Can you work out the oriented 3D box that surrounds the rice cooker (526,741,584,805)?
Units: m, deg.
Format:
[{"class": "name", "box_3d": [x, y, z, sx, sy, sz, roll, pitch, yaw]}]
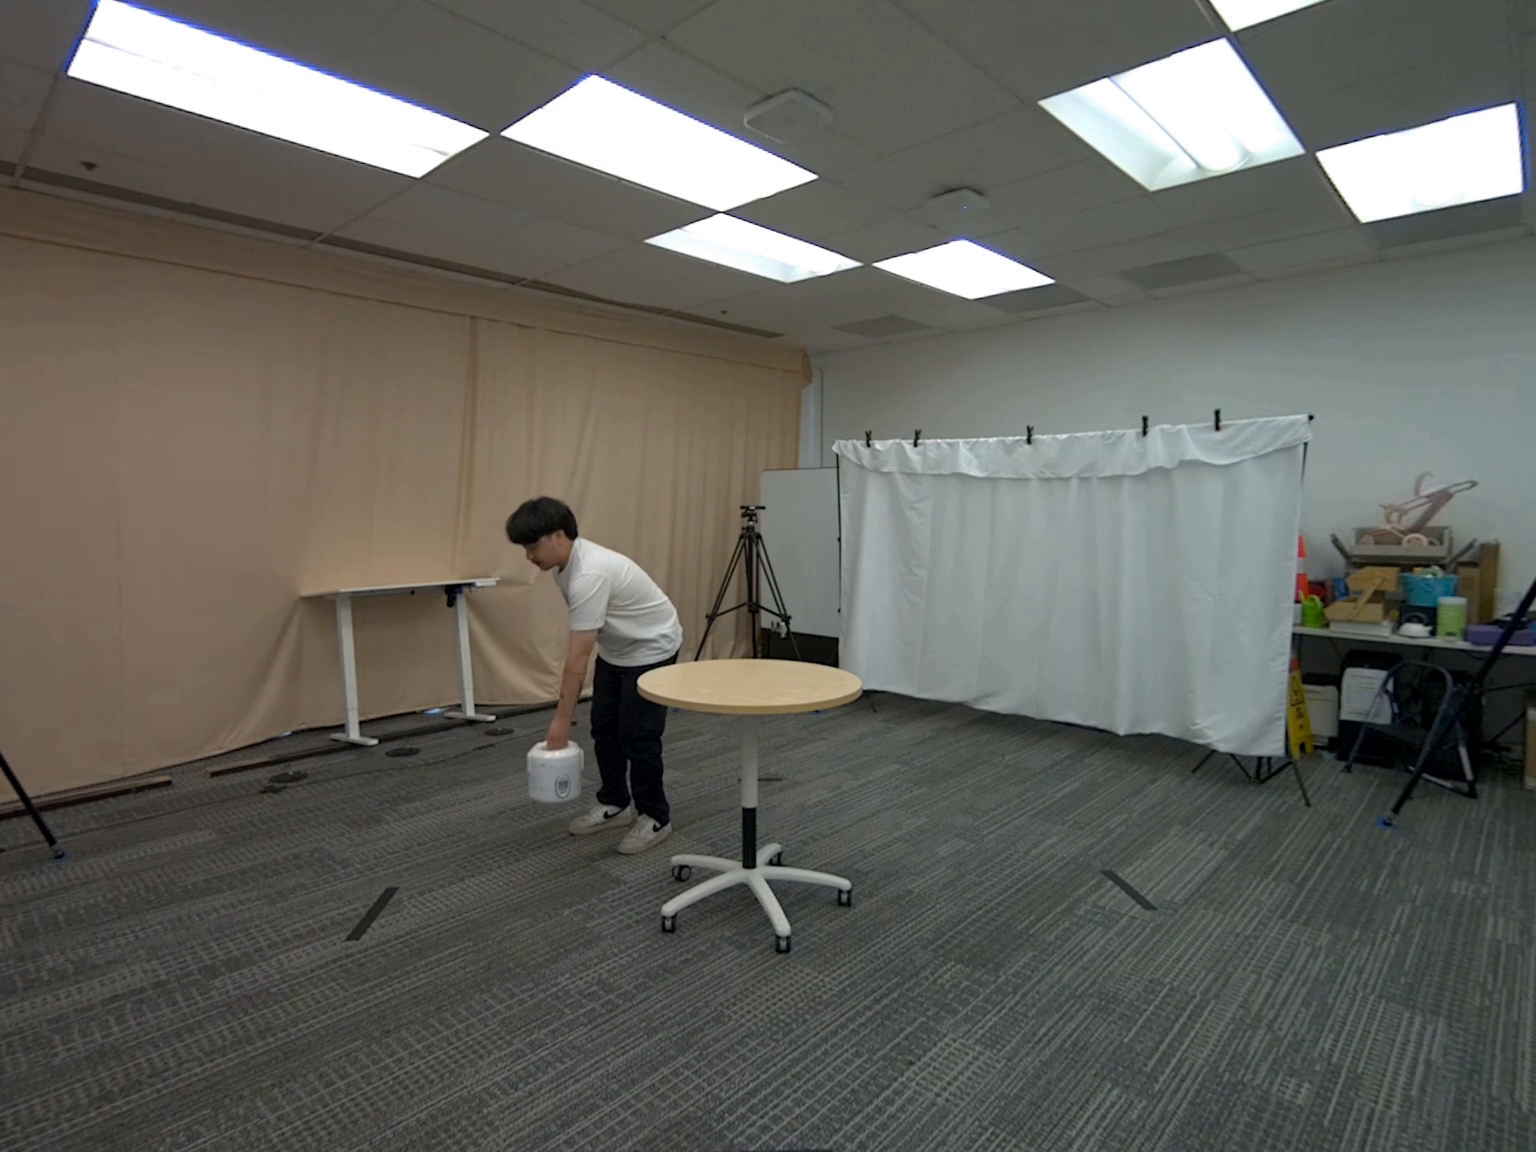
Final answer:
[{"class": "rice cooker", "box_3d": [-0.820, 0.745, 3.263, 0.215, 0.232, 0.223, -3, 3, -27]}]
